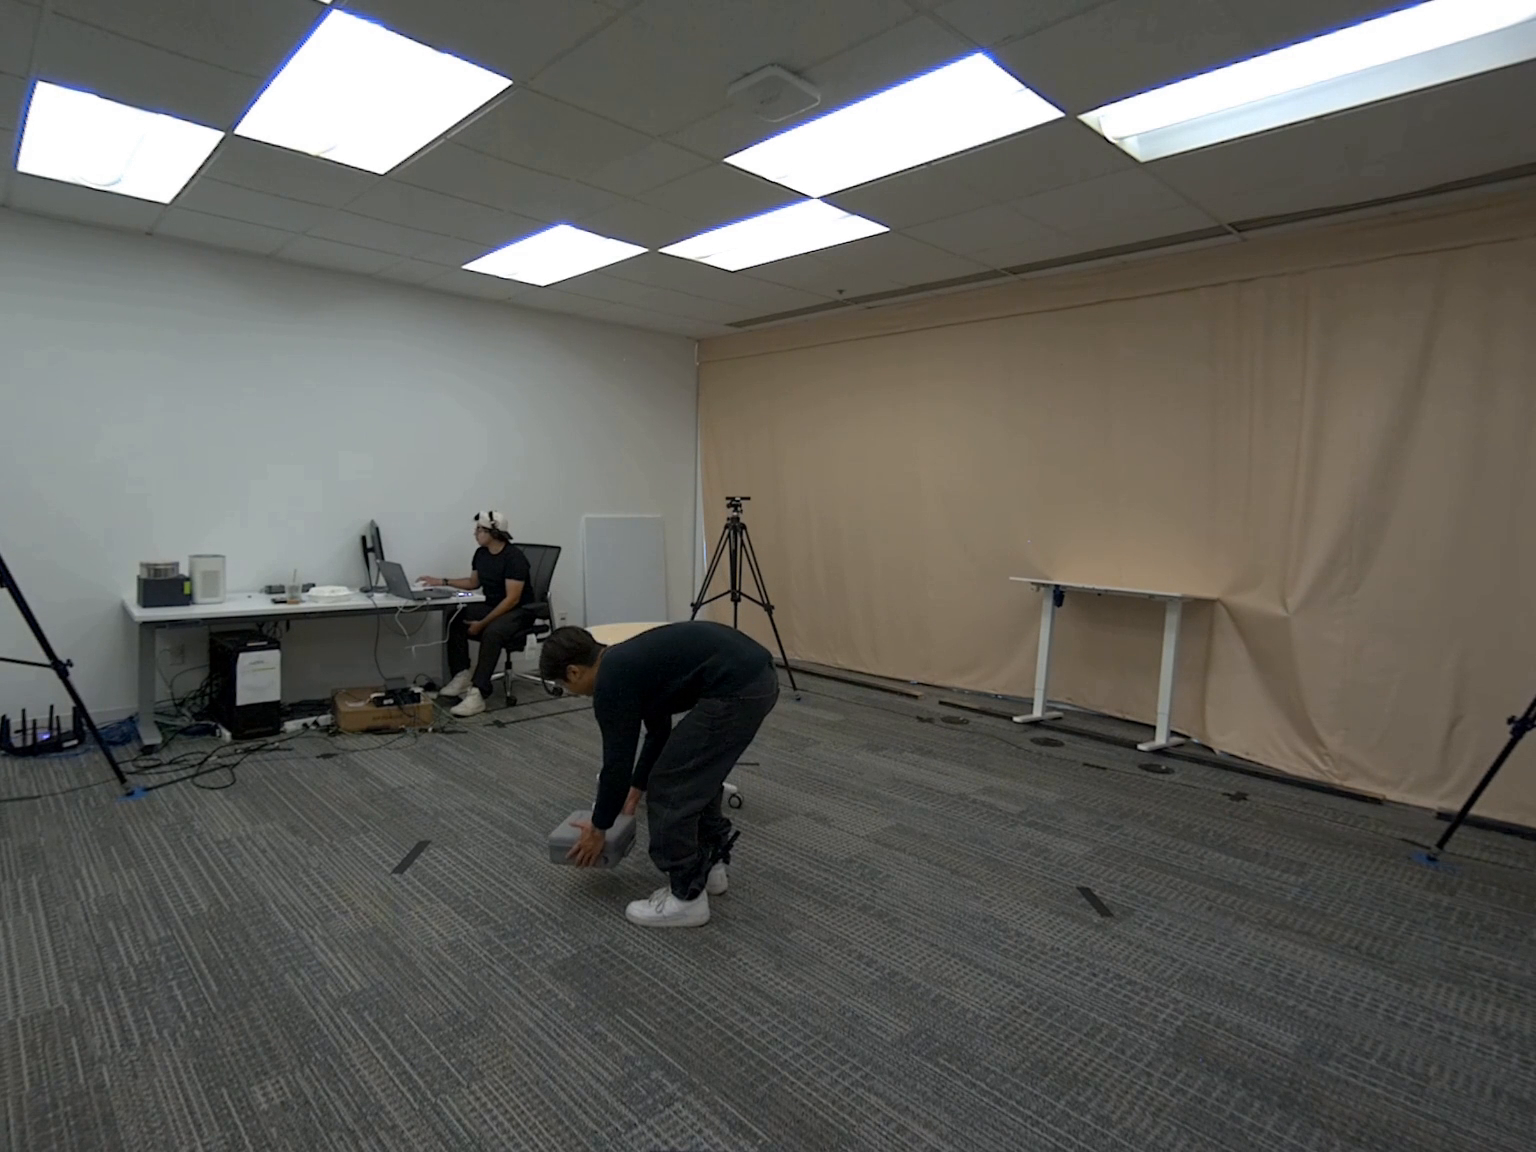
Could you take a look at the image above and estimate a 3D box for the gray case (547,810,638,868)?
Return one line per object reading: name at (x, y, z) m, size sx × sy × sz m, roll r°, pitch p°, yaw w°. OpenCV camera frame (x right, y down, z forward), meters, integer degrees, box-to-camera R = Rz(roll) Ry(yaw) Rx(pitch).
gray case at (-0.610, 0.914, 2.968) m, size 0.263 × 0.104 × 0.255 m, roll 0°, pitch 6°, yaw 11°
